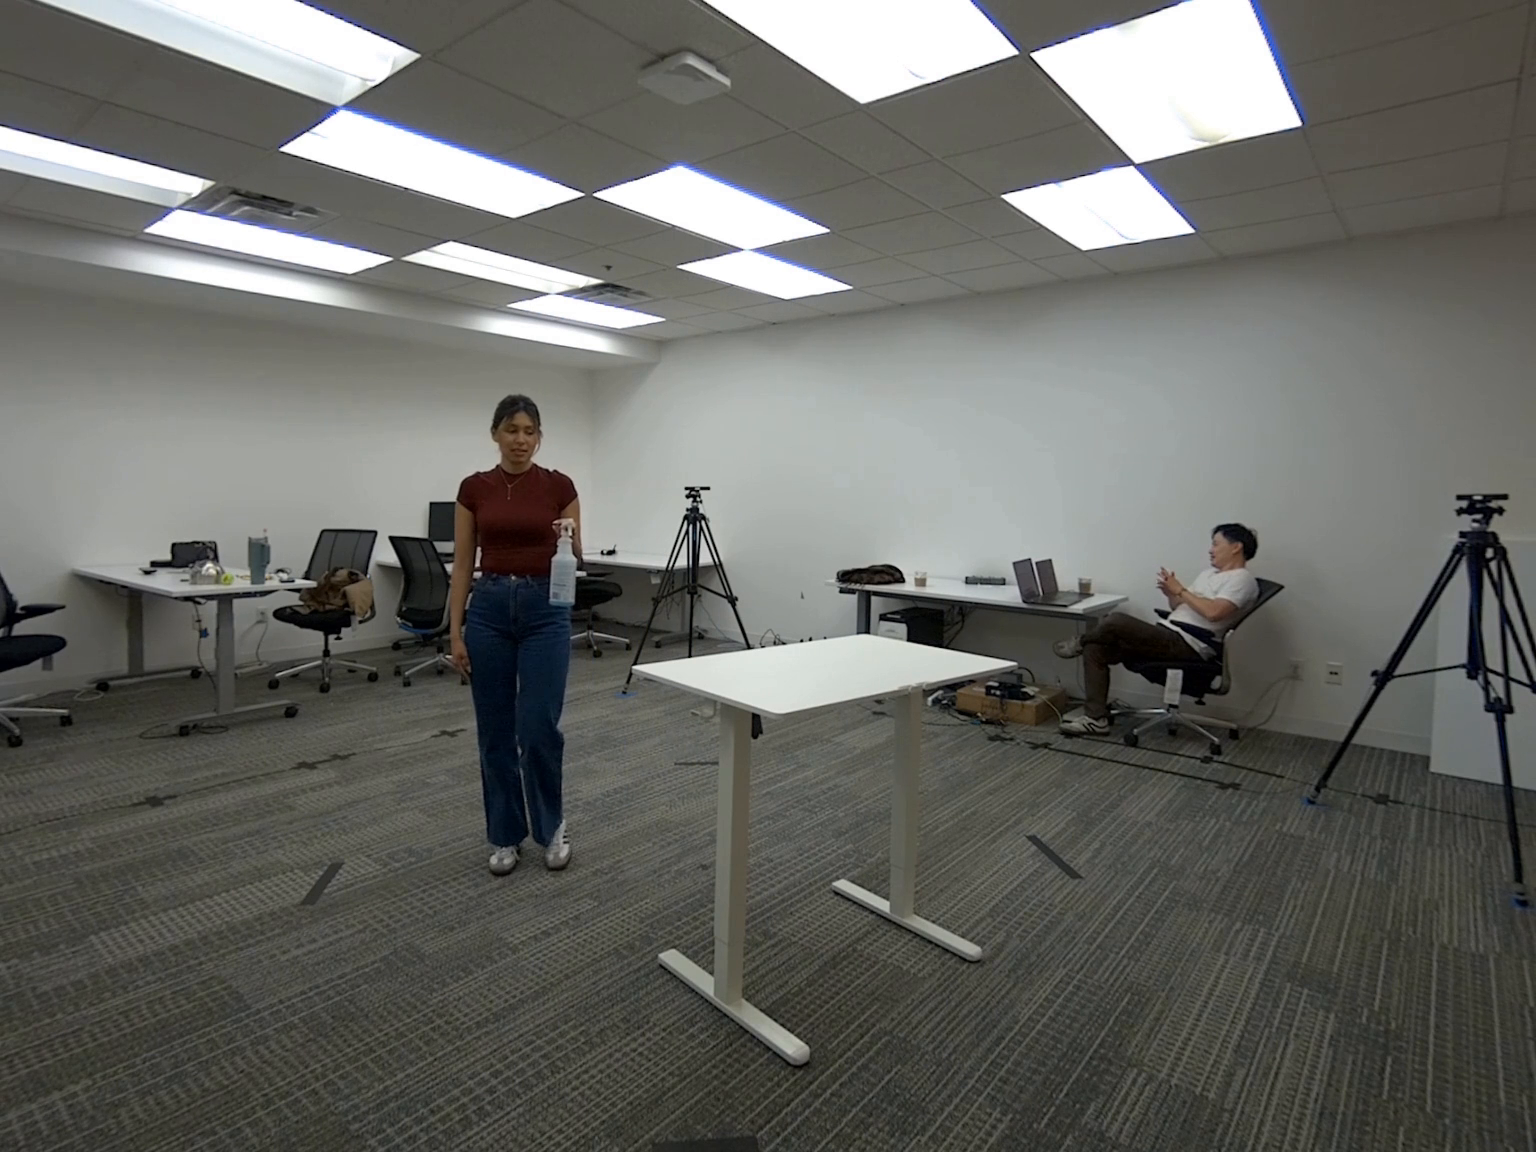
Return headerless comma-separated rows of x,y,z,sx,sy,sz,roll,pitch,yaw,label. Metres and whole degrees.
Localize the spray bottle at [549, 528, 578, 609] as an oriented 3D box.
-0.714,-0.045,2.909,0.086,0.297,0.090,2,0,-6,spray bottle
